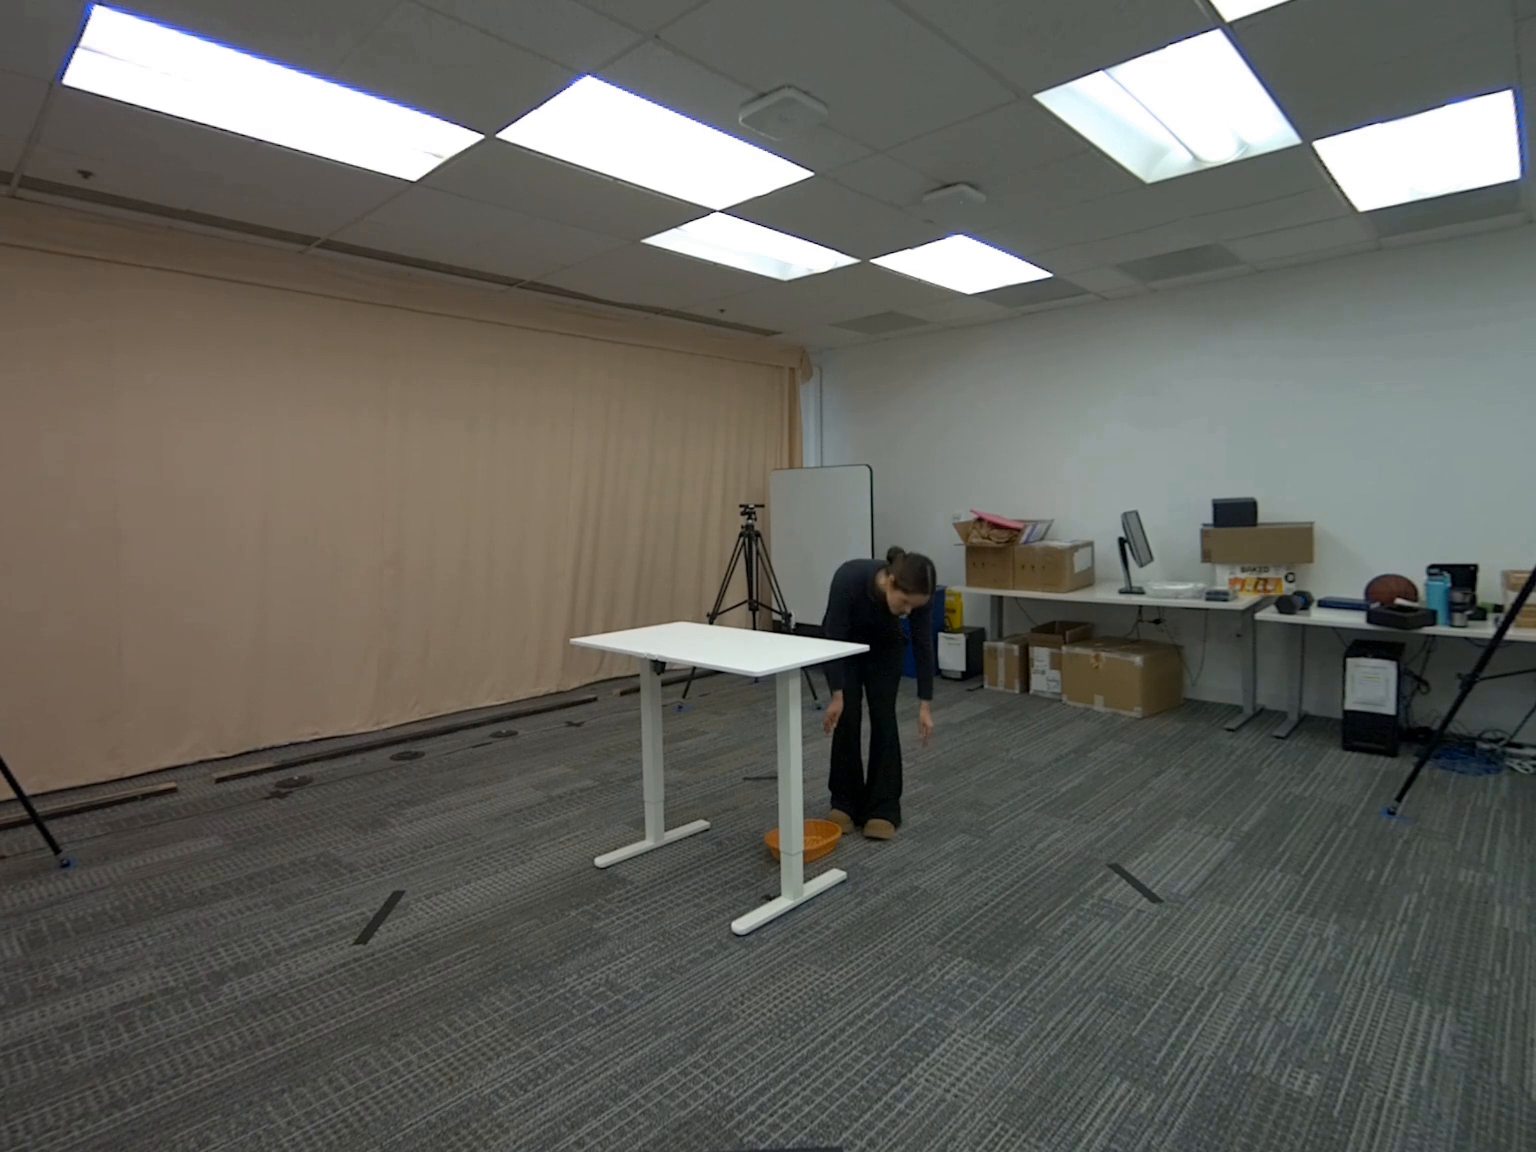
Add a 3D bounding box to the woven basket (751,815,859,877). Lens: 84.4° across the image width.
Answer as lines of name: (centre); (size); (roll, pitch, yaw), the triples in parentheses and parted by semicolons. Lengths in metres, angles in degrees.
woven basket: (0.145, 1.064, 3.366); (0.340, 0.073, 0.261); (-6, 6, -44)
